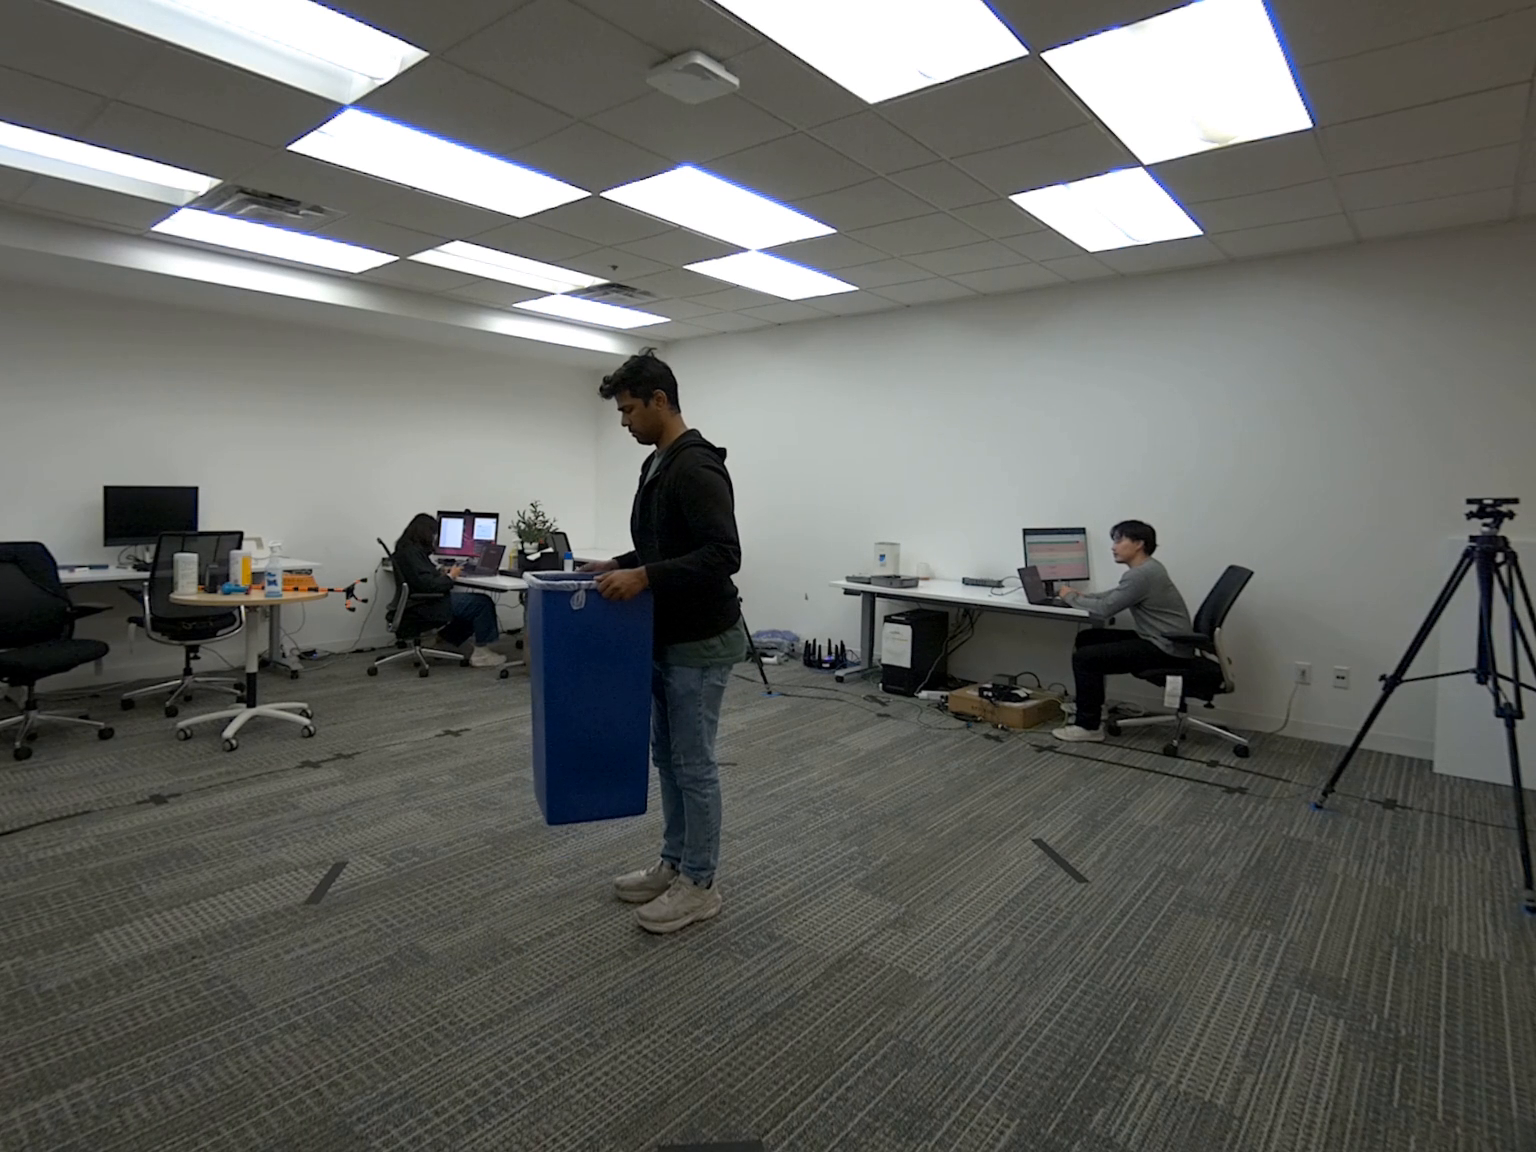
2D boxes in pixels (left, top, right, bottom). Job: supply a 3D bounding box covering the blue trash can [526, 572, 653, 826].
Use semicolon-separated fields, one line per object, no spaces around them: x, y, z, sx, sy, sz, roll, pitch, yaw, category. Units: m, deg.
-0.583;0.368;2.648;0.370;0.712;0.383;0;2;-22;blue trash can
